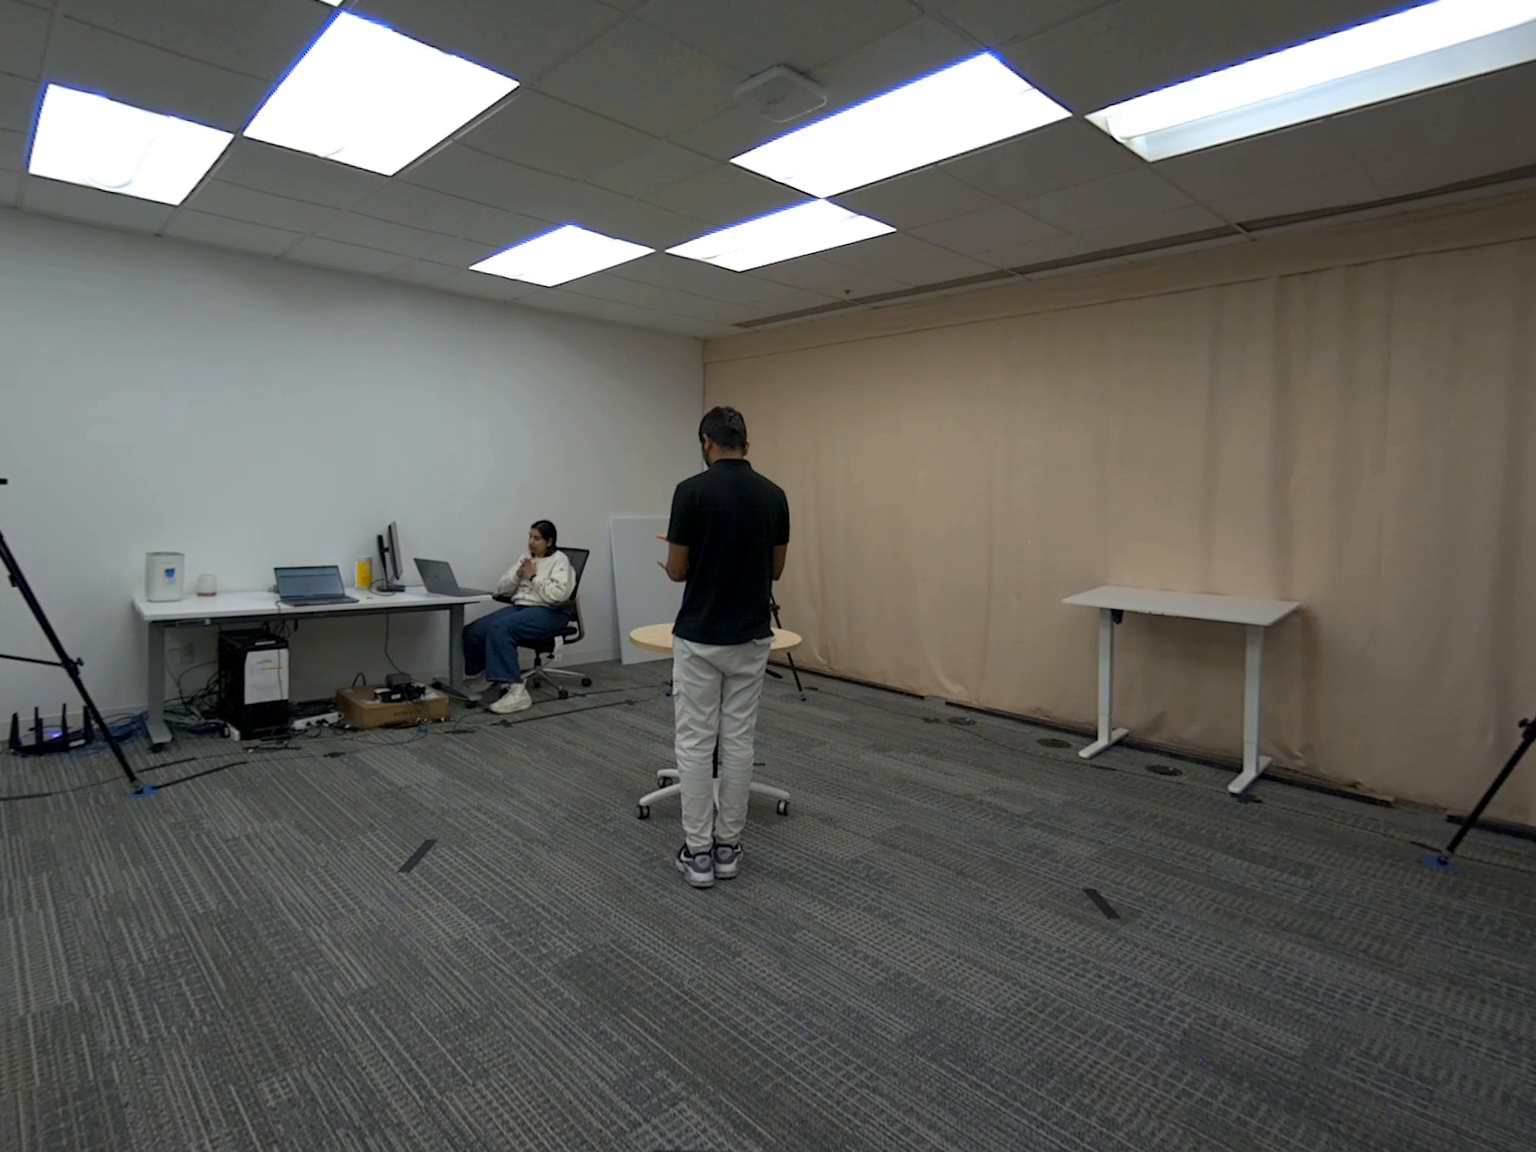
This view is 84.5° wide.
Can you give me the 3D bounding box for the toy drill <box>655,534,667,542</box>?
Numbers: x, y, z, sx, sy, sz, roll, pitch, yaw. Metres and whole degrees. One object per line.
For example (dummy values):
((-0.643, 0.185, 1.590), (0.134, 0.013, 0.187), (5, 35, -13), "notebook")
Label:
((-0.387, -0.110, 3.388), (0.168, 0.146, 0.062), (7, 1, -12), "toy drill")
